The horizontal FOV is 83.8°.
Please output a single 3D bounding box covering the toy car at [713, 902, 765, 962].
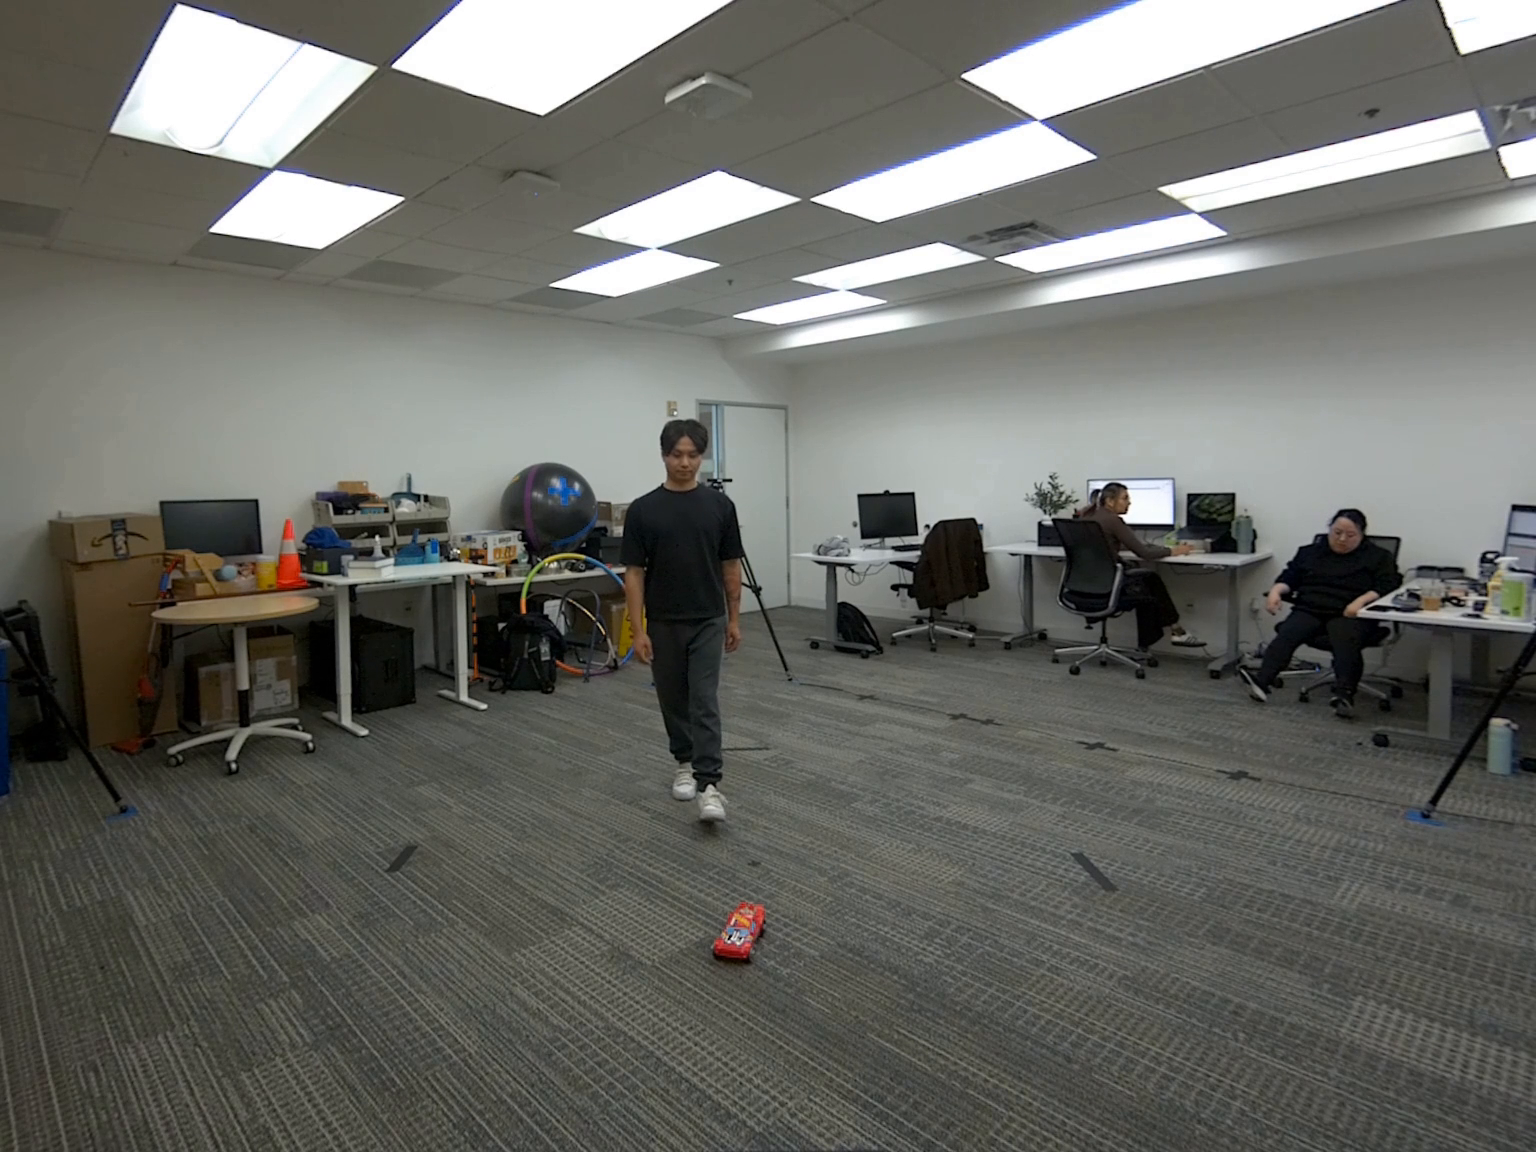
[{"bbox_3d":[-0.074,1.077,2.581,0.132,0.082,0.254,0,17,15],"label":"toy car"}]
